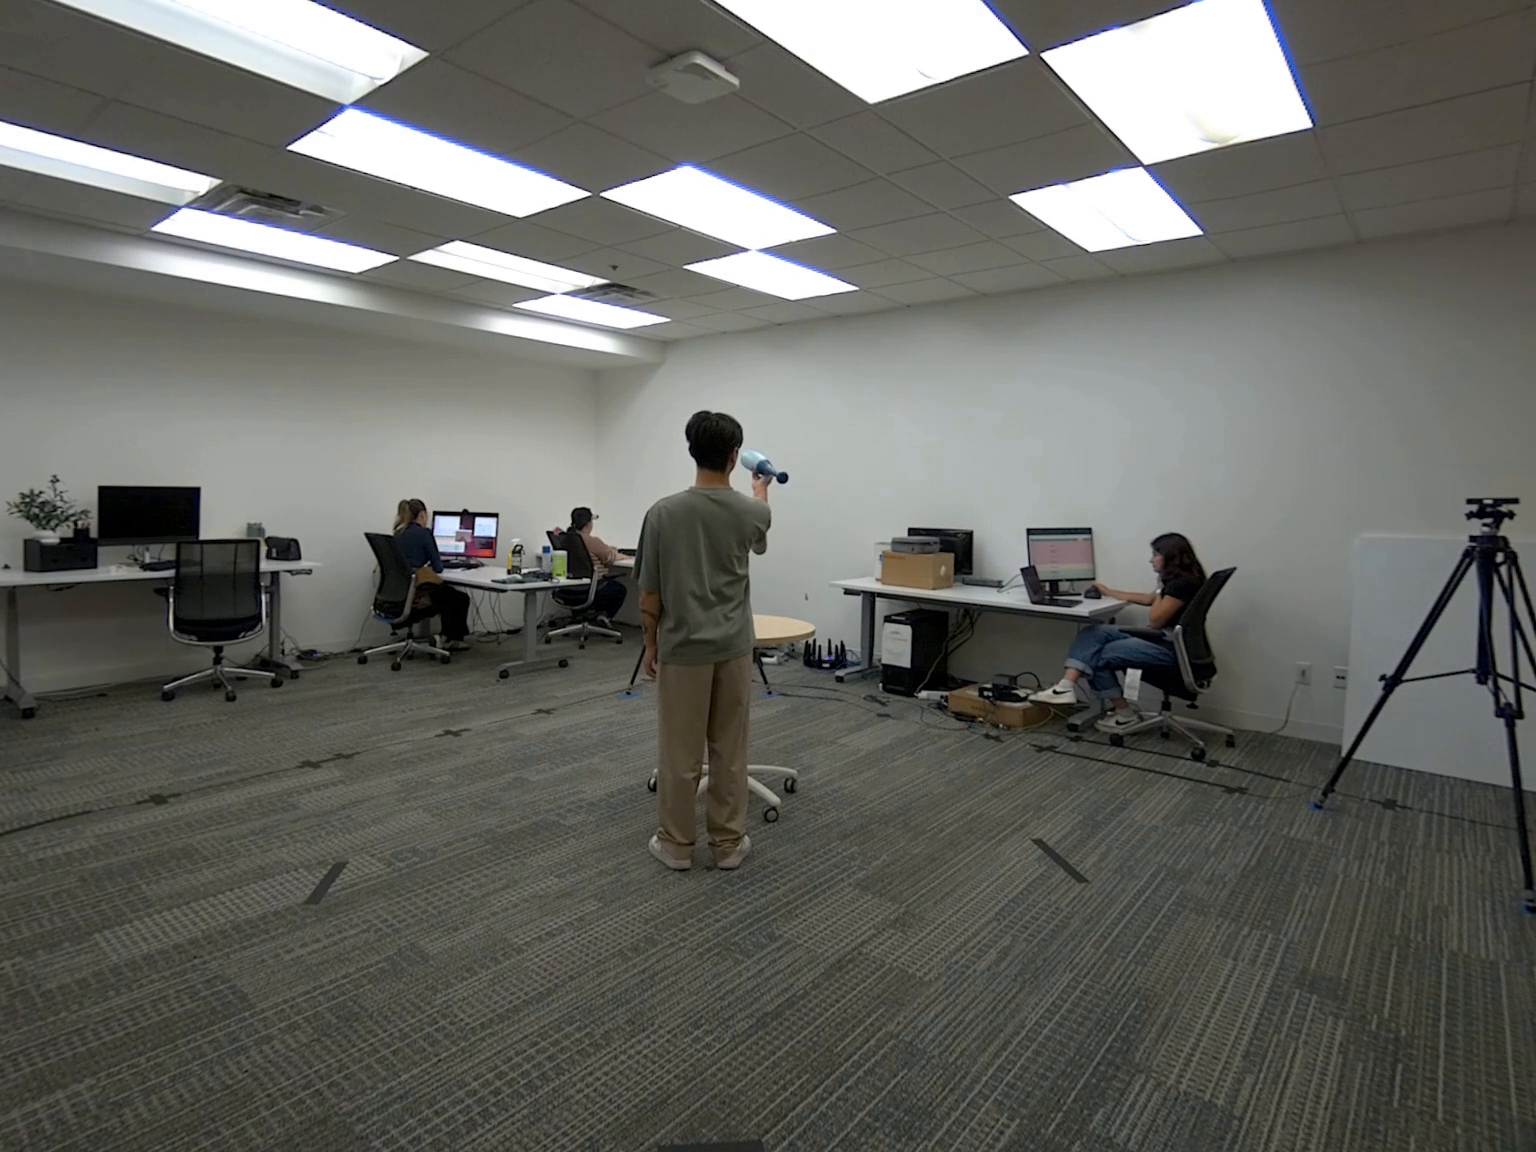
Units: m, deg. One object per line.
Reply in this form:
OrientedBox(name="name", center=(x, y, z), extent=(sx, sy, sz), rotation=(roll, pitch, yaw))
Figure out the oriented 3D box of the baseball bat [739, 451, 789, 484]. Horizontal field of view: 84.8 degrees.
OrientedBox(name="baseball bat", center=(-0.020, -0.466, 3.642), extent=(0.087, 0.088, 0.559), rotation=(-1, 17, -17))
